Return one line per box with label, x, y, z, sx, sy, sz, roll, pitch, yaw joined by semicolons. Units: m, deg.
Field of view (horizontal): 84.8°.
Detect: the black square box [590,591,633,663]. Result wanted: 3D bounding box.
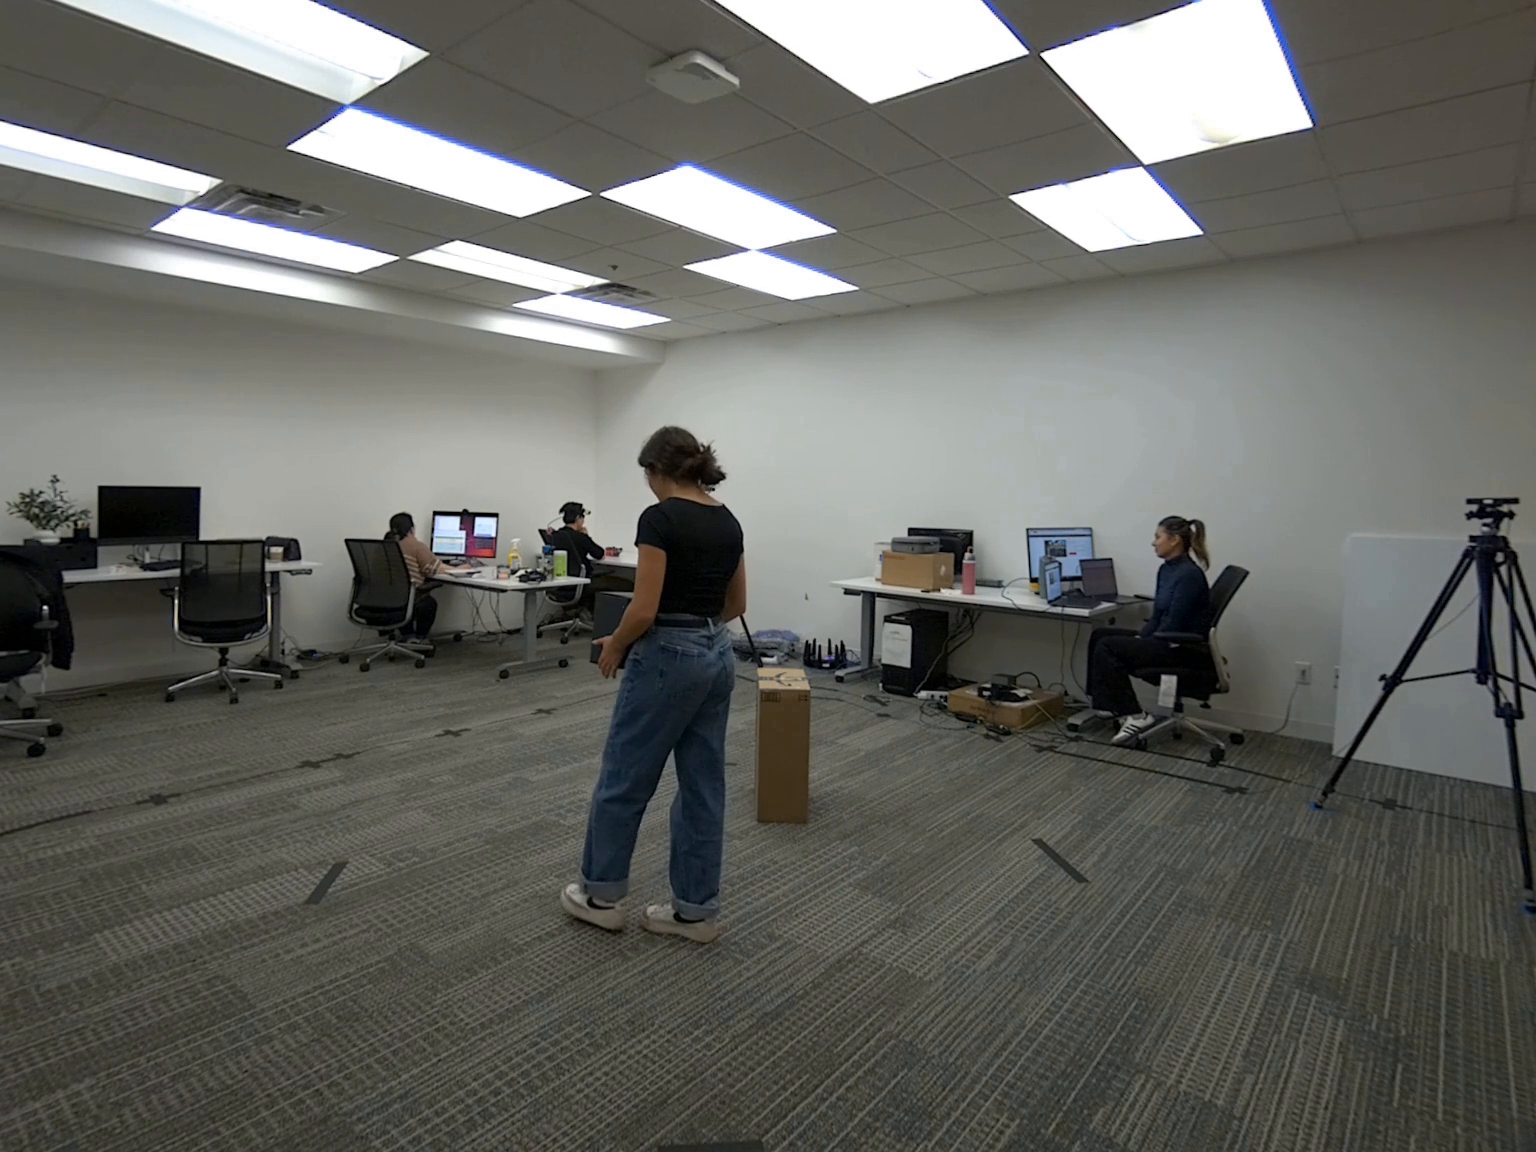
black square box;-0.452;0.169;2.788;0.161;0.228;0.210;1;-2;37
